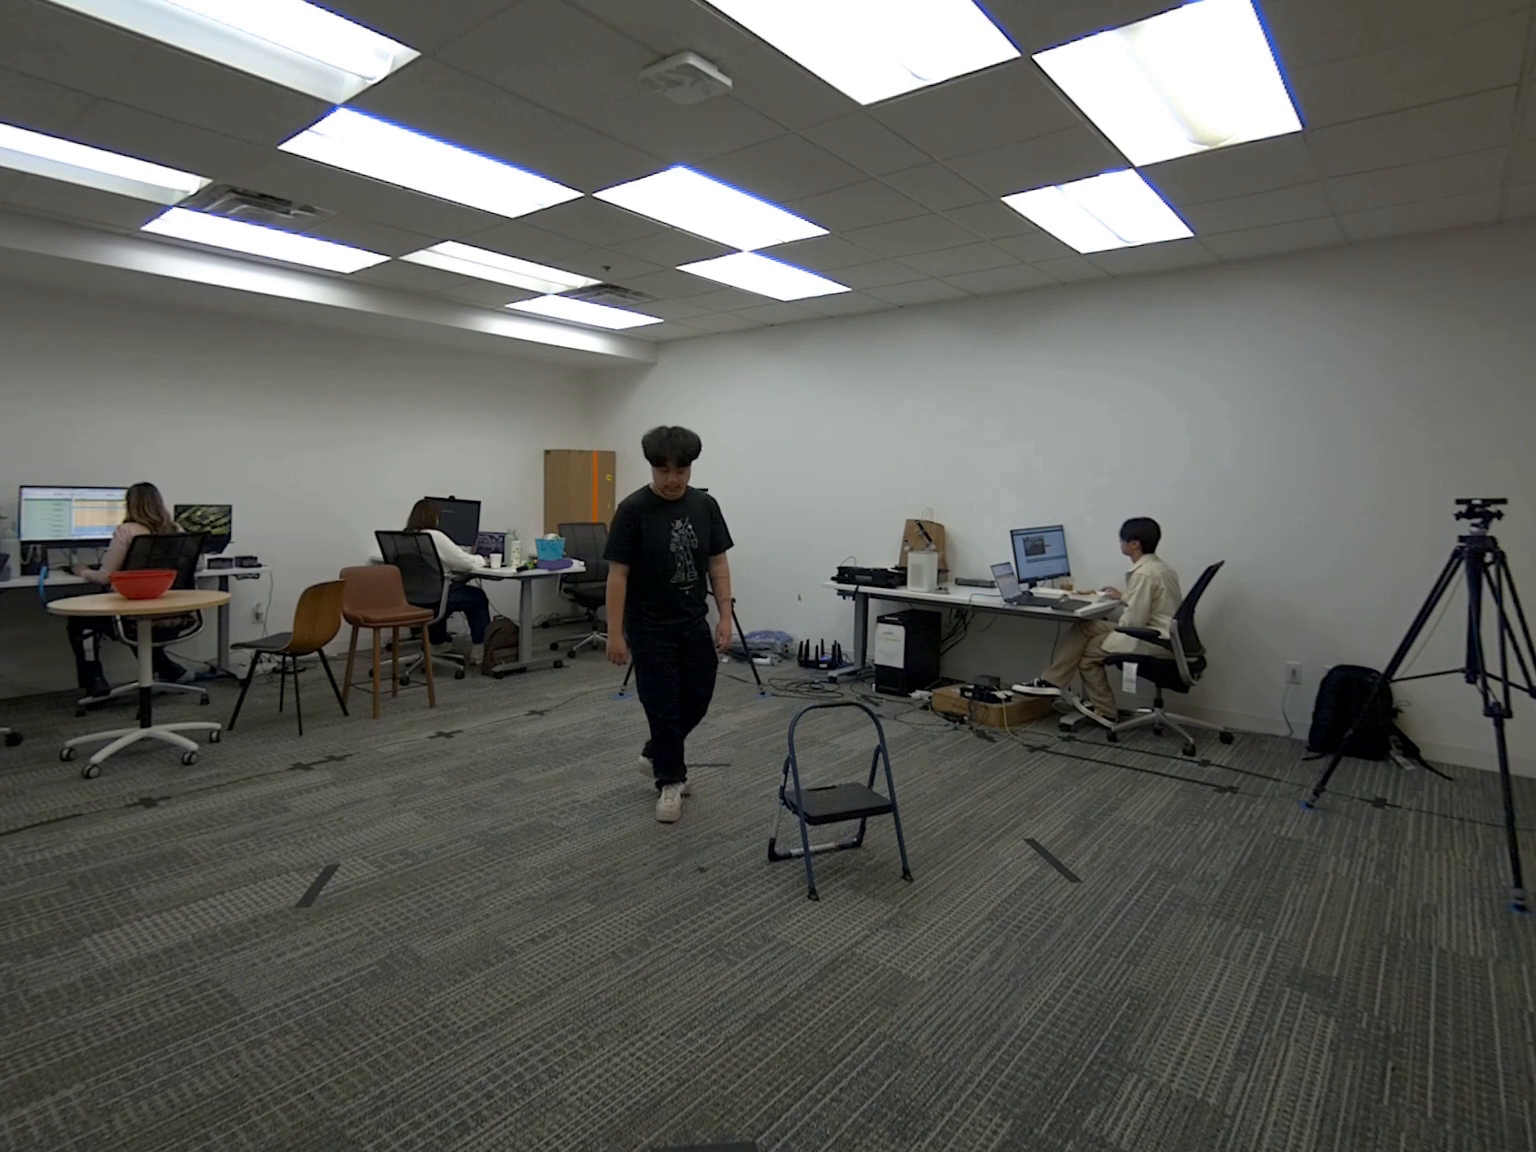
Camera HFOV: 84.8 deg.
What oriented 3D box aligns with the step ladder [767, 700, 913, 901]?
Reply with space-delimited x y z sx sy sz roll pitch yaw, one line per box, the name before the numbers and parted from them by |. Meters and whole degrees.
step ladder | 0.257 0.775 3.117 0.420 0.604 0.359 0 4 -27
